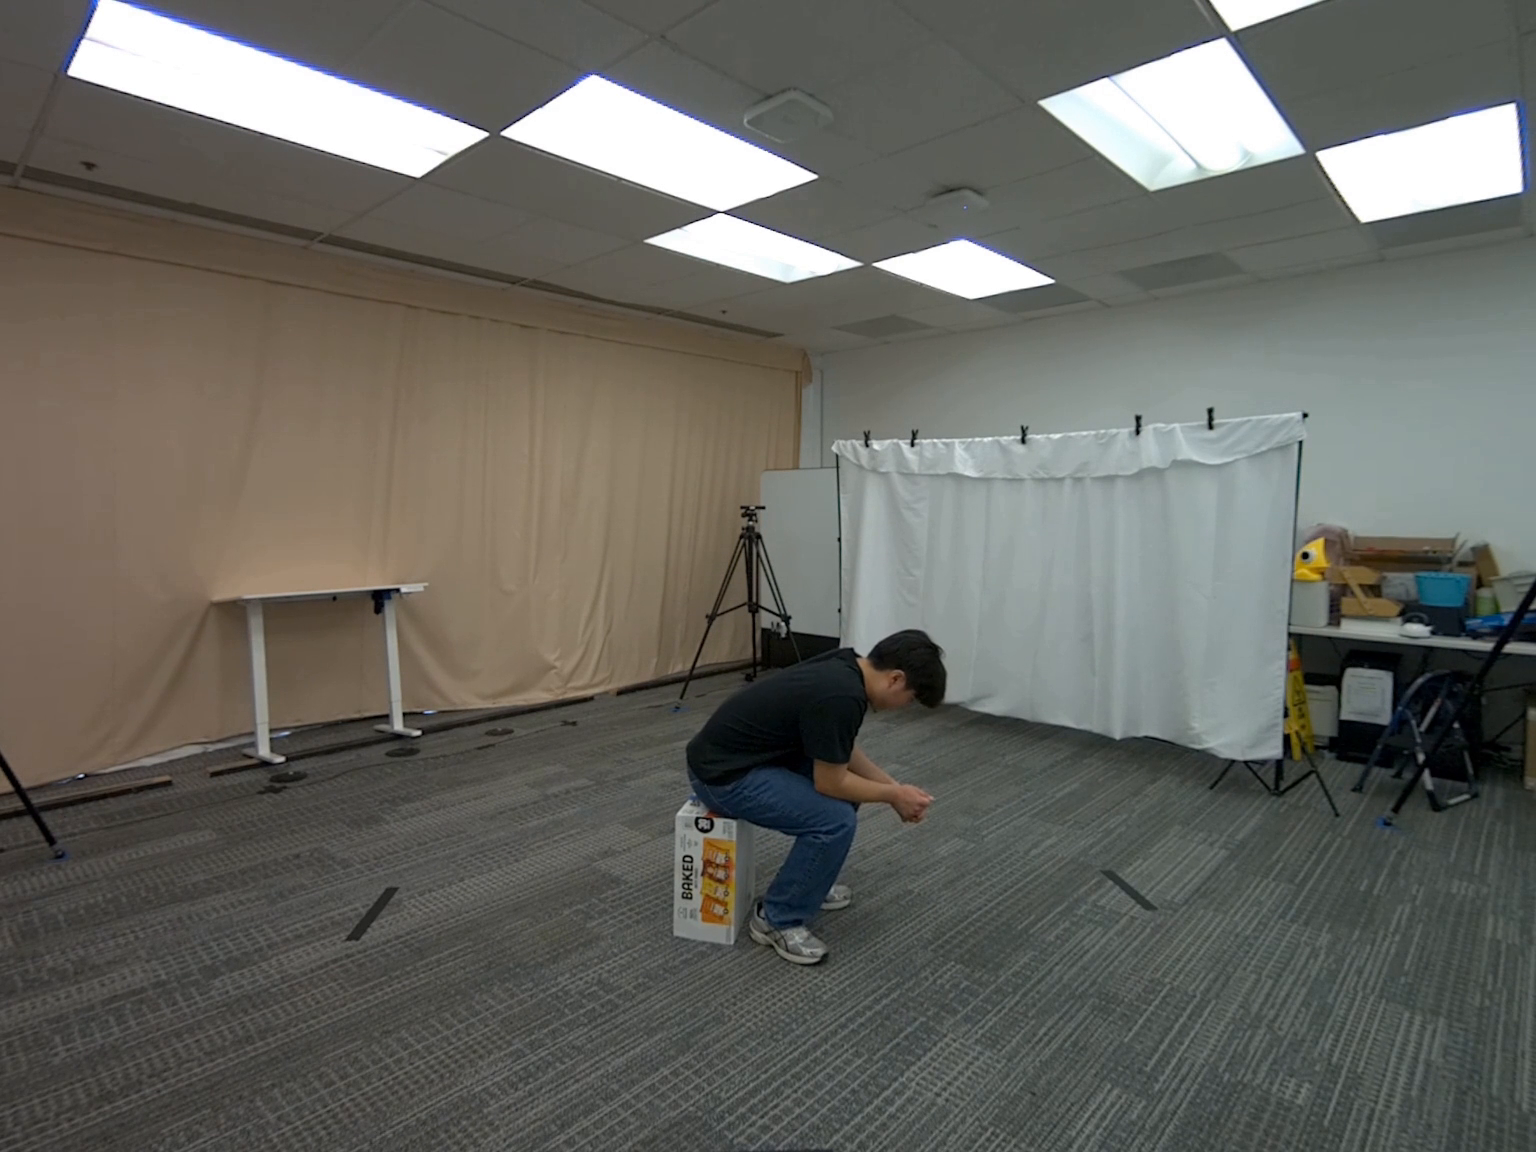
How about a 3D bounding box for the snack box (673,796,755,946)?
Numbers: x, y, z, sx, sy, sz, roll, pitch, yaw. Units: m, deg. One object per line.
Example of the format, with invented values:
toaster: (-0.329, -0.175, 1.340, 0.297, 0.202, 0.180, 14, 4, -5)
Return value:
snack box: (-0.168, 0.956, 2.850, 0.209, 0.404, 0.336, 2, 3, 12)
